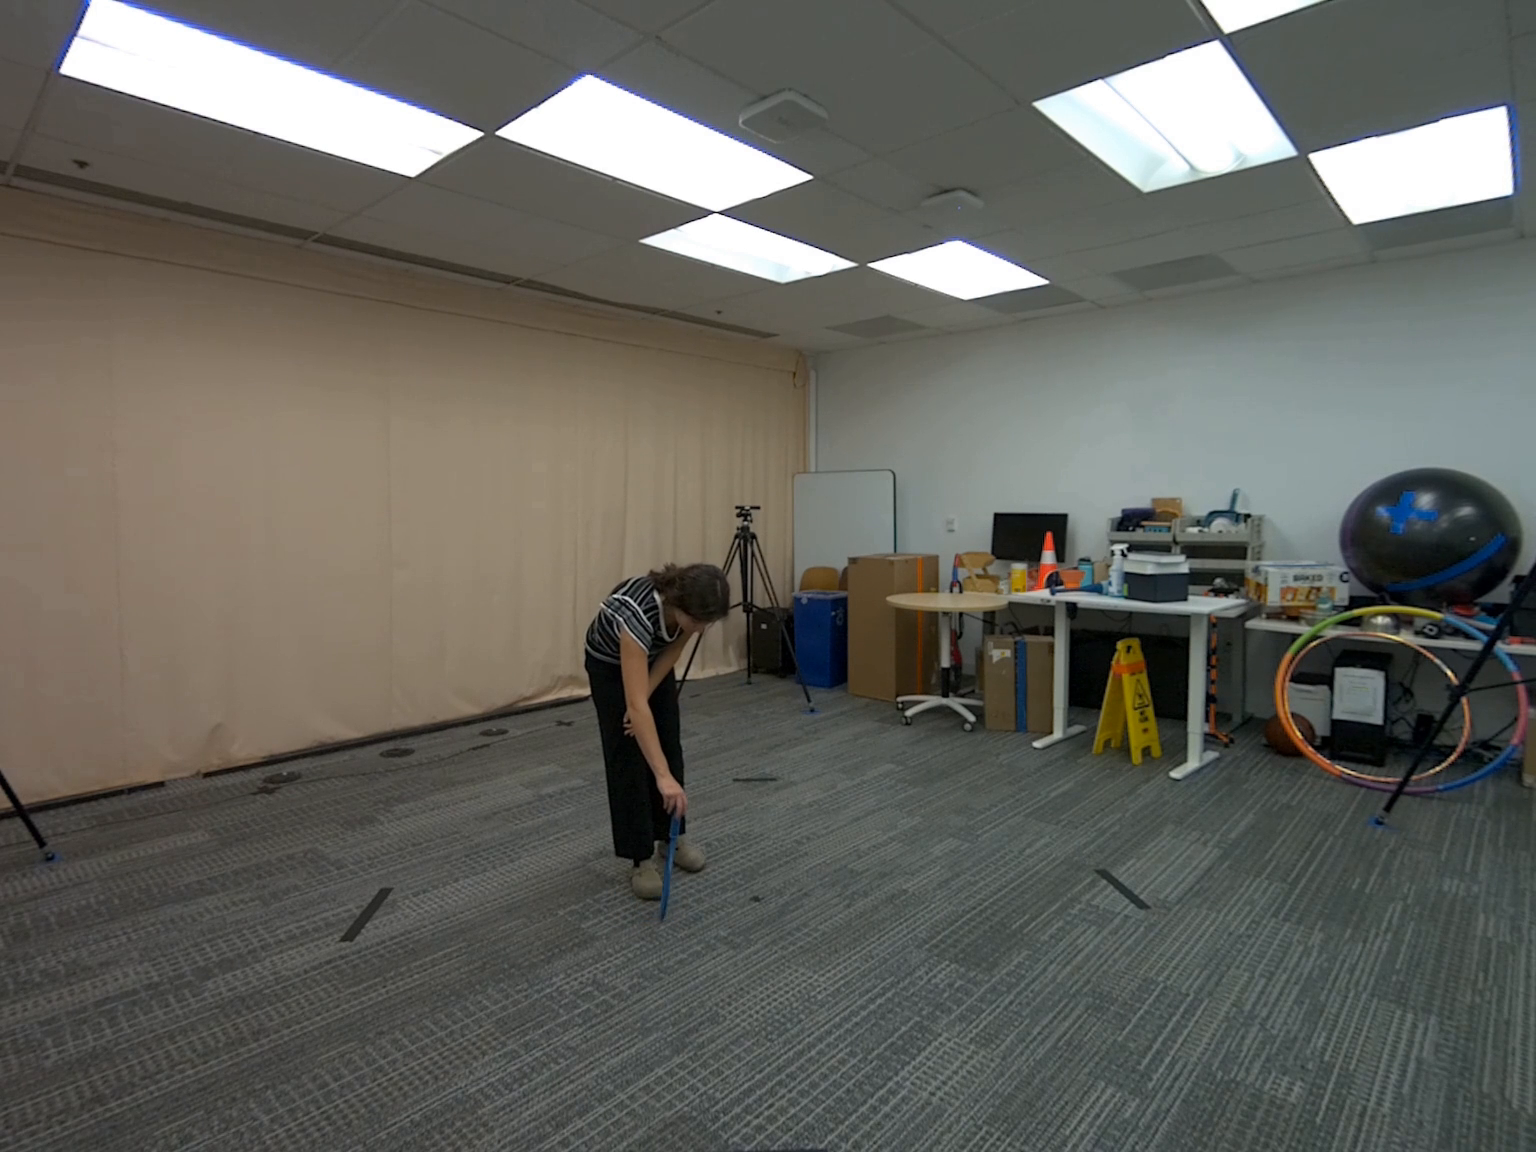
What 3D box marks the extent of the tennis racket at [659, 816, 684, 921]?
[{"bbox_3d":[-0.324,0.946,2.807,0.031,0.429,0.217,7,20,-7],"label":"tennis racket"}]
